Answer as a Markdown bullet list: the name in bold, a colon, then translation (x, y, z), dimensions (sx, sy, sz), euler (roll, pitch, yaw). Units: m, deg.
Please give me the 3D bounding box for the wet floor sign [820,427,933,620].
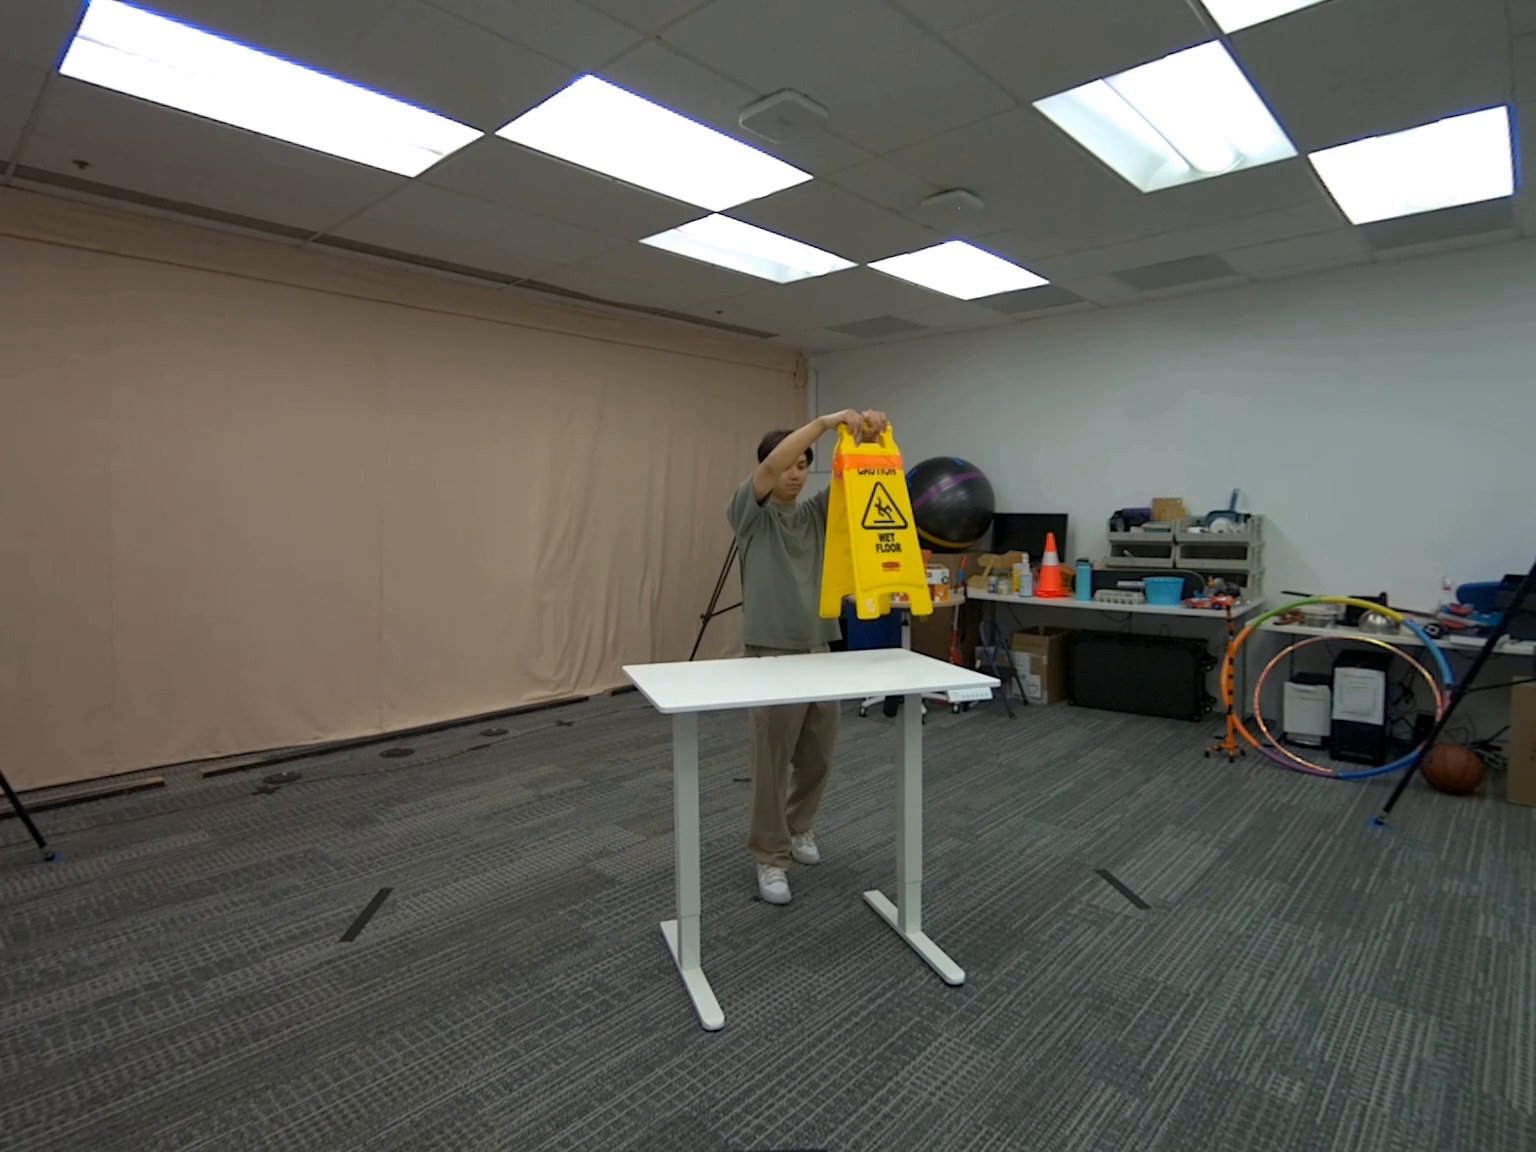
- **wet floor sign**: translation (0.349, -0.192, 2.785), dimensions (0.275, 0.646, 0.296), euler (-3, -1, -26)
